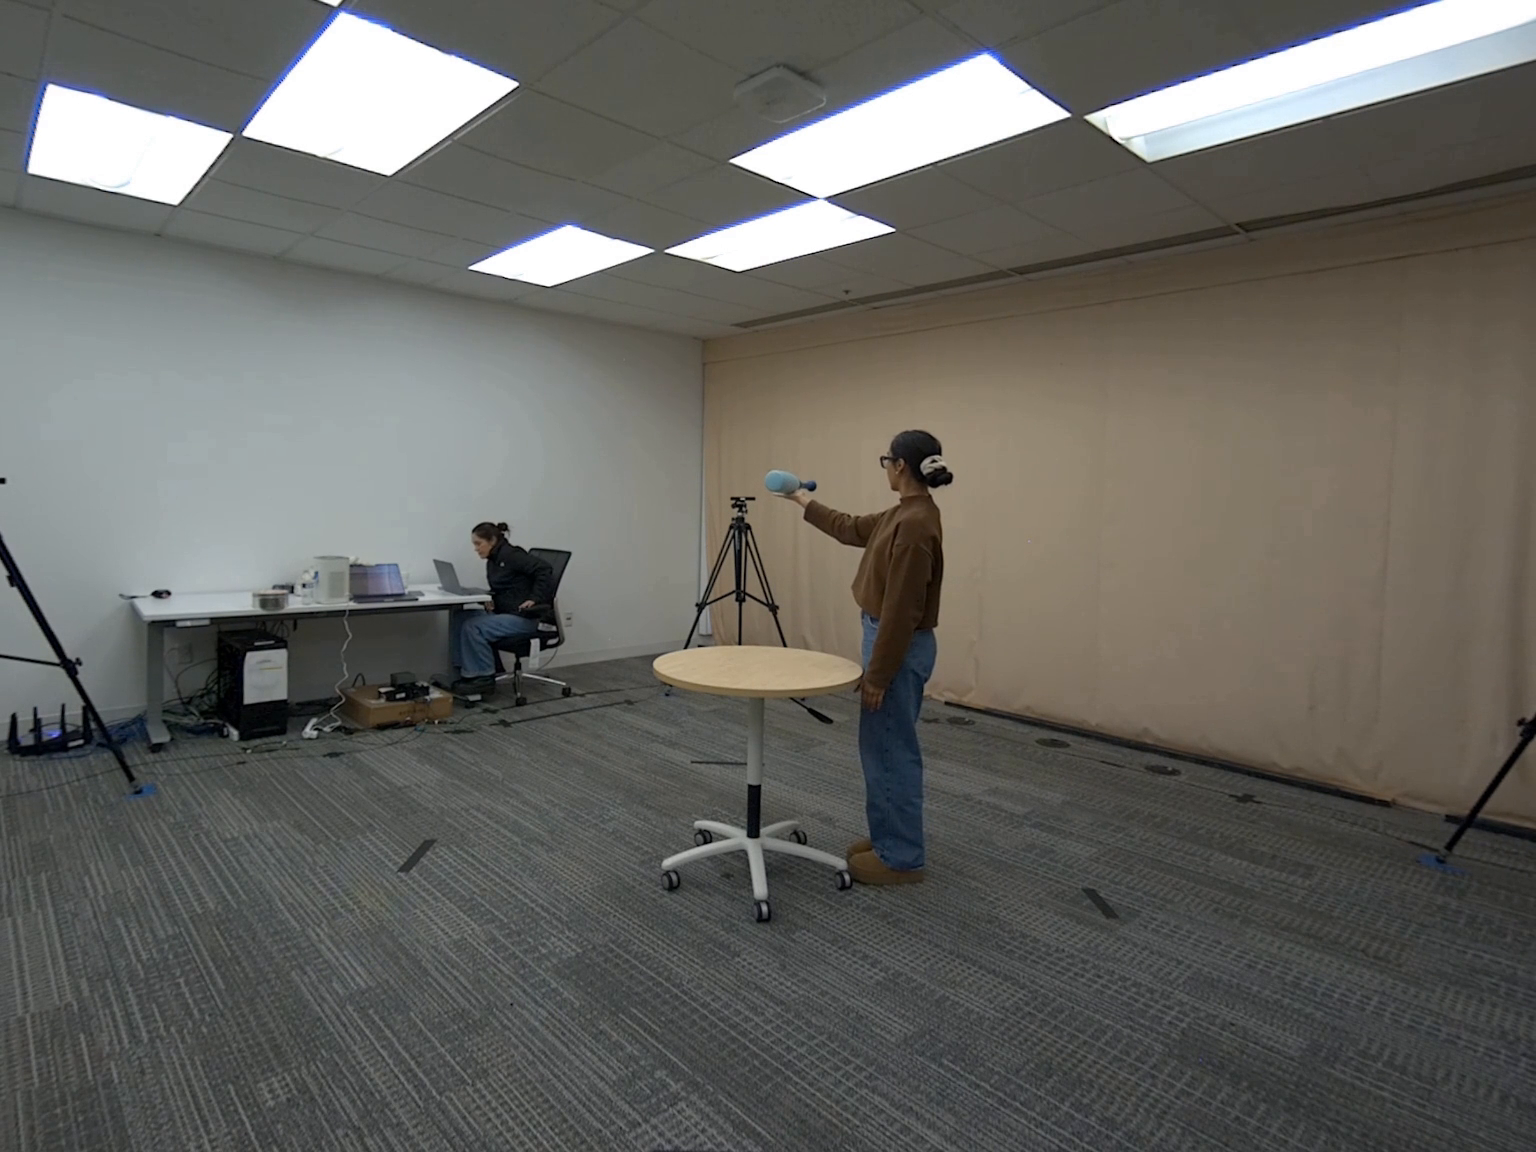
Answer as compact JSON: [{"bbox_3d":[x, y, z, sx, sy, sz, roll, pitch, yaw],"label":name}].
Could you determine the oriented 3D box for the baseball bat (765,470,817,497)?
[{"bbox_3d":[0.104,-0.393,3.617,0.090,0.089,0.535,3,4,19],"label":"baseball bat"}]
